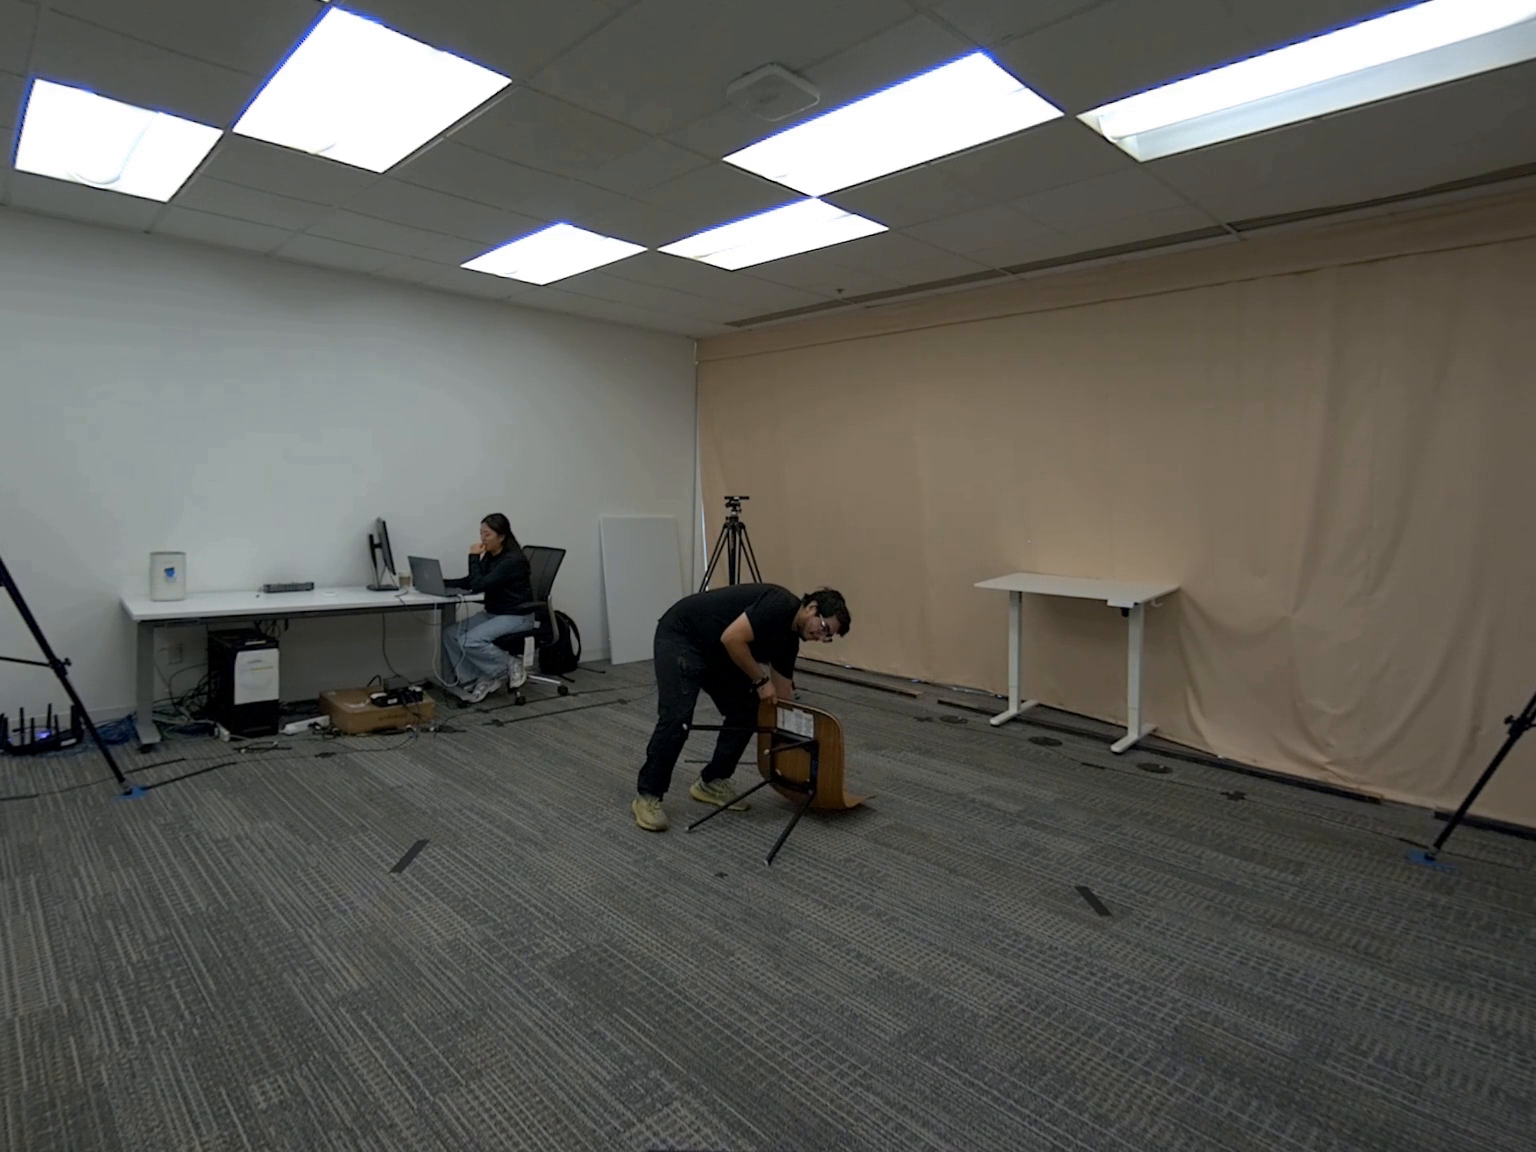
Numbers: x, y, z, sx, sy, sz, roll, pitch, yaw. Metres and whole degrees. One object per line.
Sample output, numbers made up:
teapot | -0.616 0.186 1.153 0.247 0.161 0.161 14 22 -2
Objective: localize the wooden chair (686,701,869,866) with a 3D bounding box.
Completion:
wooden chair | 0.102 0.798 3.616 0.490 0.522 0.857 6 5 41
